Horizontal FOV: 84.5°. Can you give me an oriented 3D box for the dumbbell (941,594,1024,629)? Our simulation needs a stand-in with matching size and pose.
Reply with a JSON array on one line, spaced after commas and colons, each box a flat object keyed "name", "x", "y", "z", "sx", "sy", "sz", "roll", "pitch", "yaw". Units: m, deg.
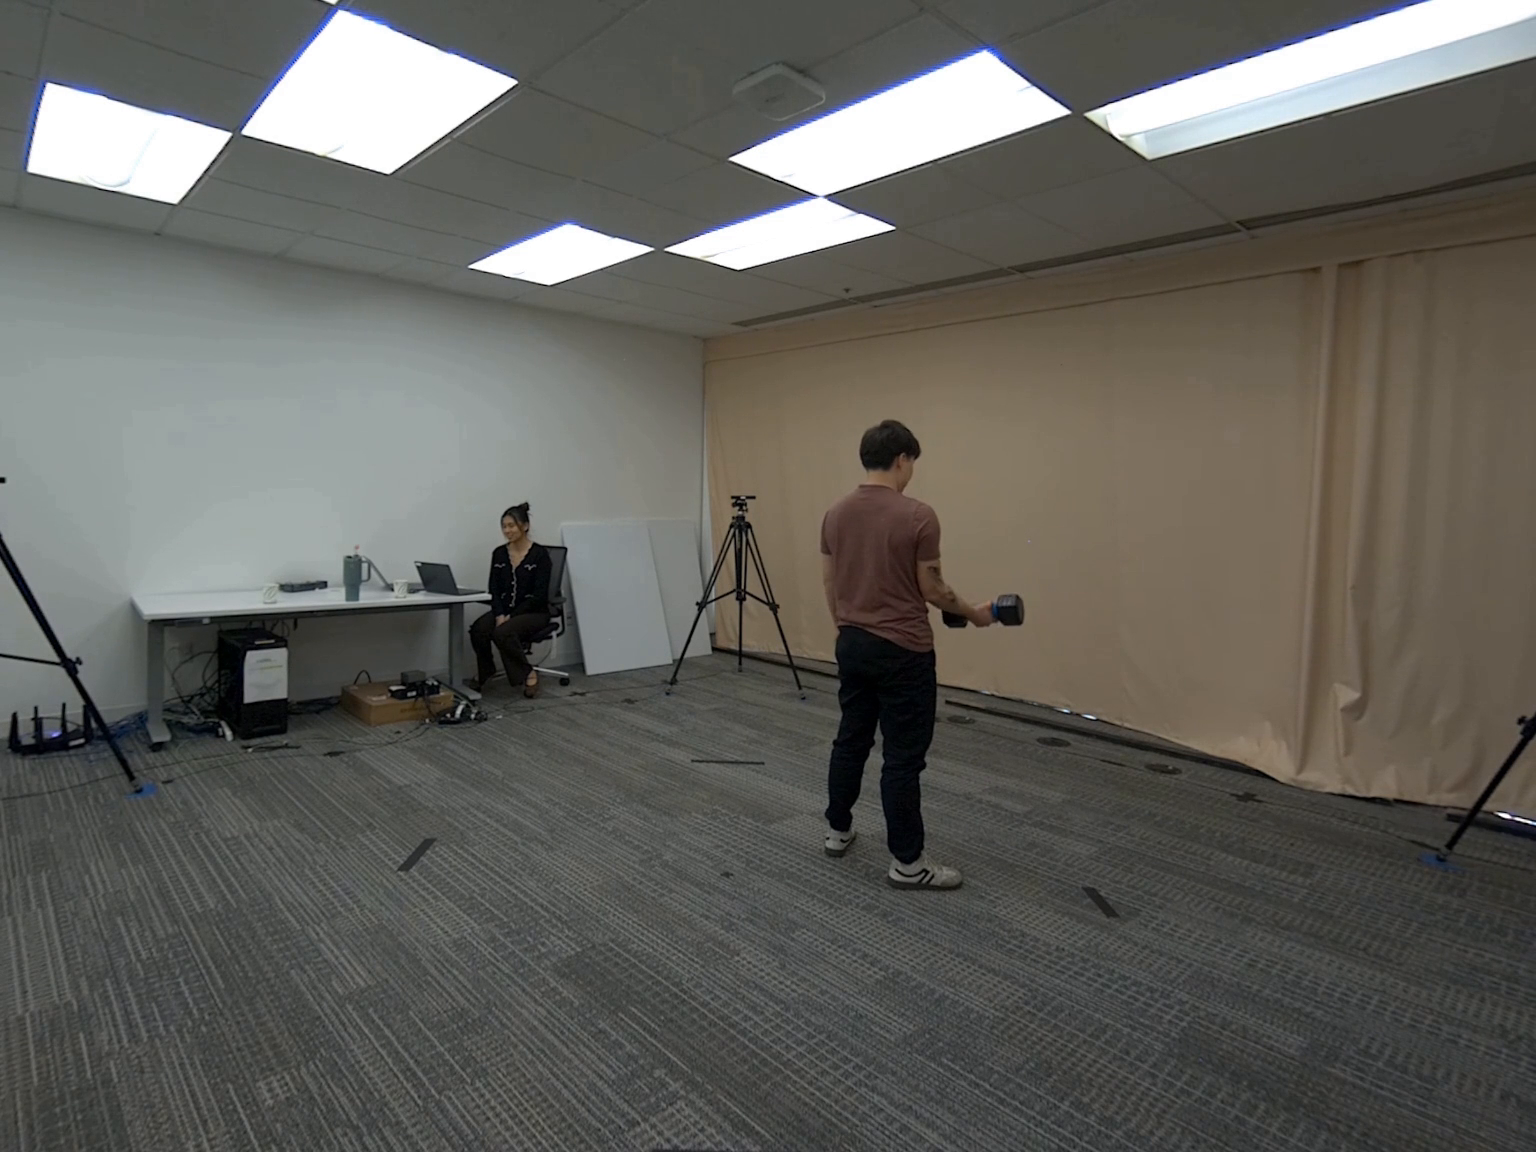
[{"name": "dumbbell", "x": 0.810, "y": 0.129, "z": 3.221, "sx": 0.299, "sy": 0.105, "sz": 0.124, "roll": -5, "pitch": 41, "yaw": 32}]
